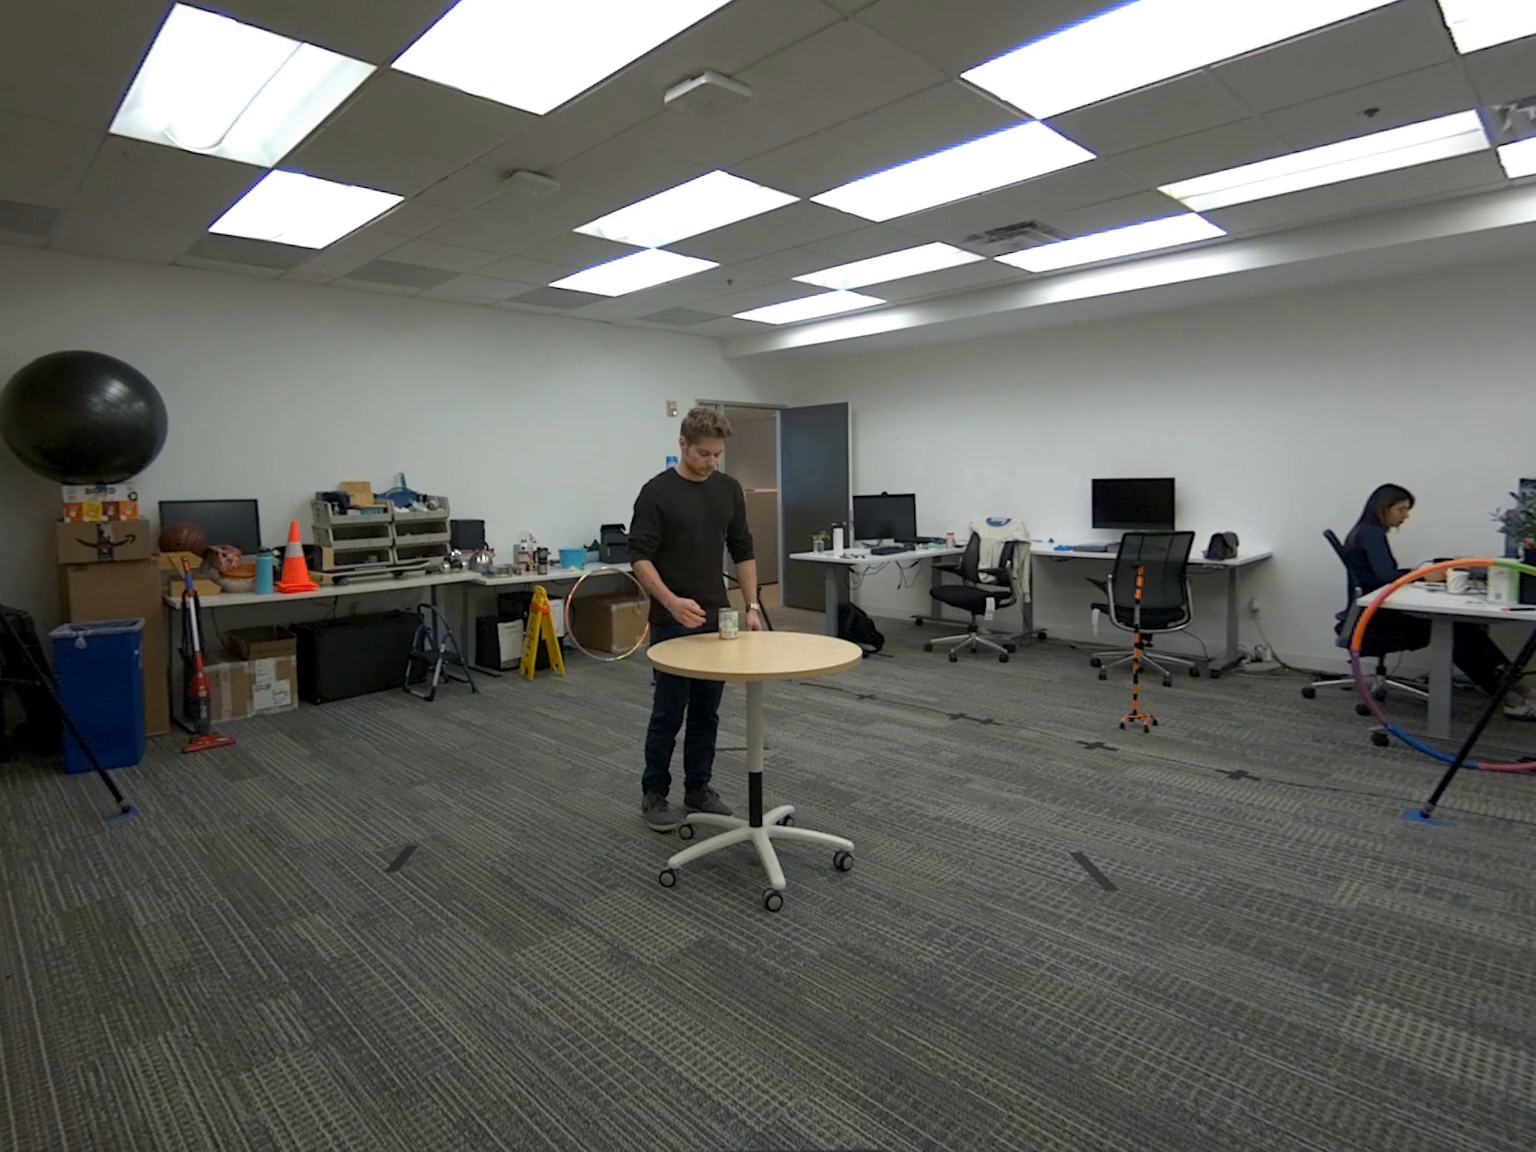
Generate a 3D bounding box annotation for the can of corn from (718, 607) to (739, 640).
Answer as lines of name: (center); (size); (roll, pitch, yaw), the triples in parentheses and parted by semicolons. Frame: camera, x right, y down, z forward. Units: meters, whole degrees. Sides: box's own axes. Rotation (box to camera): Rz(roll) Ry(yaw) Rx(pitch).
can of corn: (-0.152, 0.185, 3.290); (0.074, 0.110, 0.074); (0, 5, -2)
